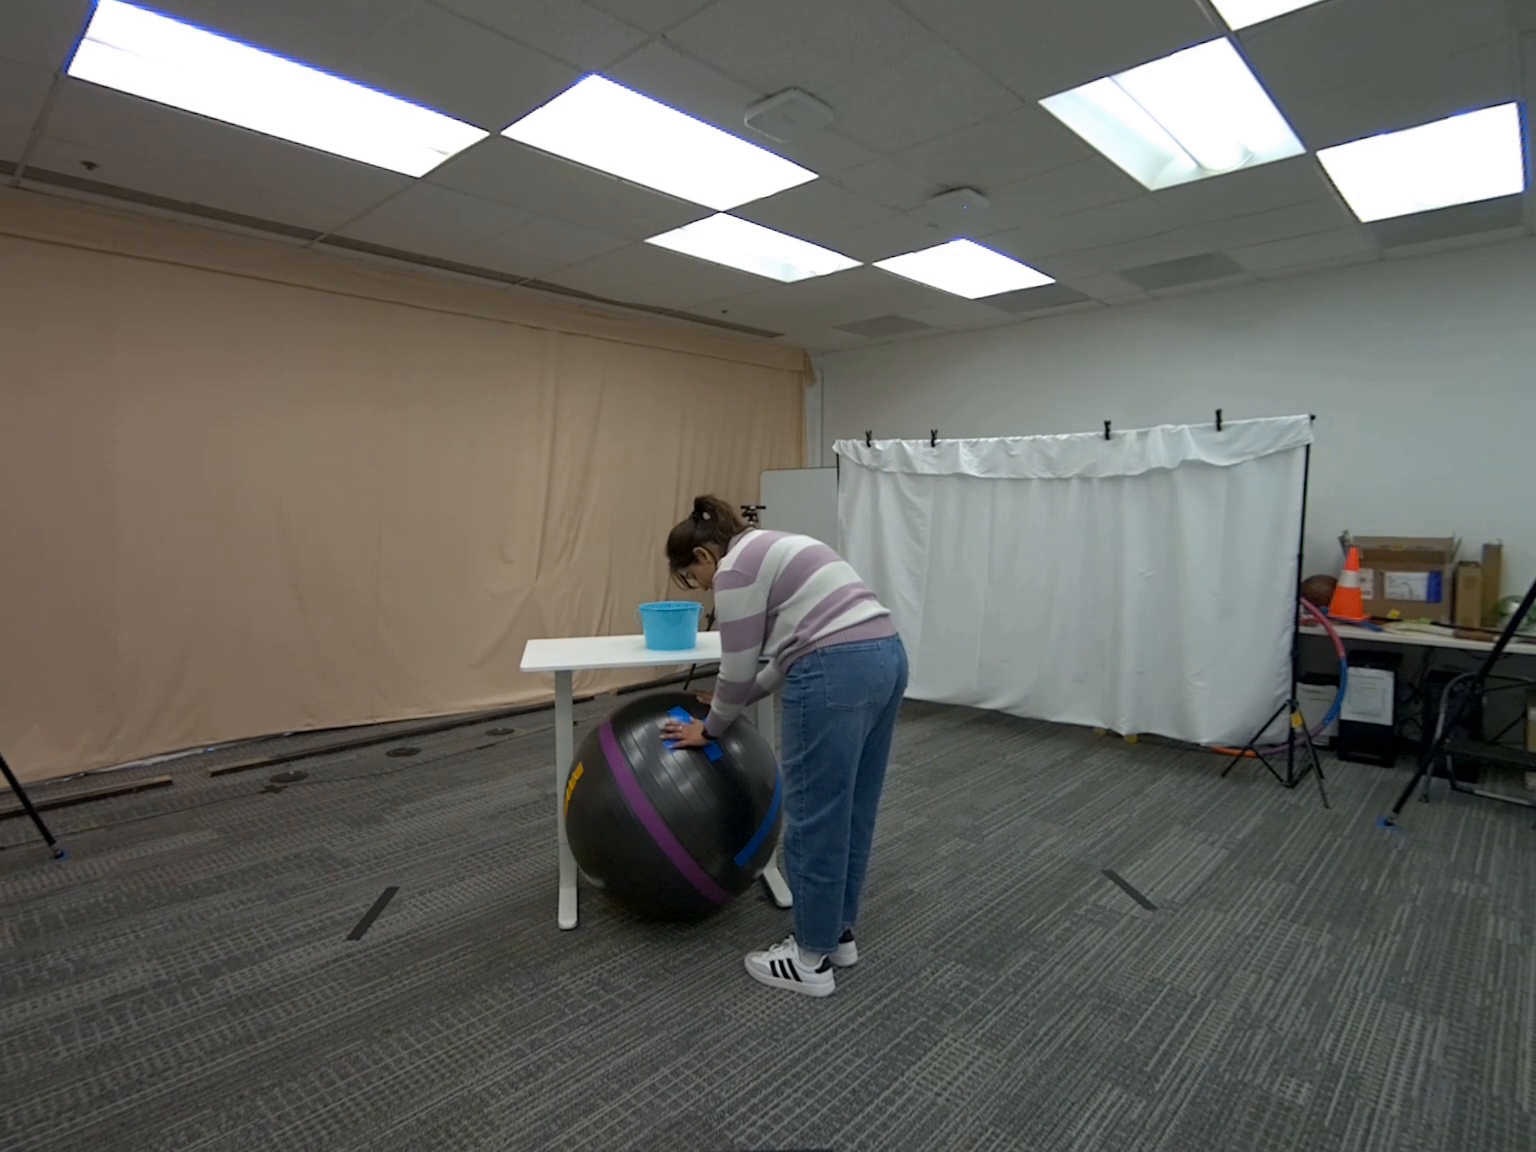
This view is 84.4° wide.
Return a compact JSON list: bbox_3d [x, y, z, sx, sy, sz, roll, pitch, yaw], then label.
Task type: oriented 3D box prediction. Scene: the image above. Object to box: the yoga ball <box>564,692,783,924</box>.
[{"bbox_3d":[-0.339,0.789,2.917,0.757,0.756,0.760,0,4,-2],"label":"yoga ball"}]
